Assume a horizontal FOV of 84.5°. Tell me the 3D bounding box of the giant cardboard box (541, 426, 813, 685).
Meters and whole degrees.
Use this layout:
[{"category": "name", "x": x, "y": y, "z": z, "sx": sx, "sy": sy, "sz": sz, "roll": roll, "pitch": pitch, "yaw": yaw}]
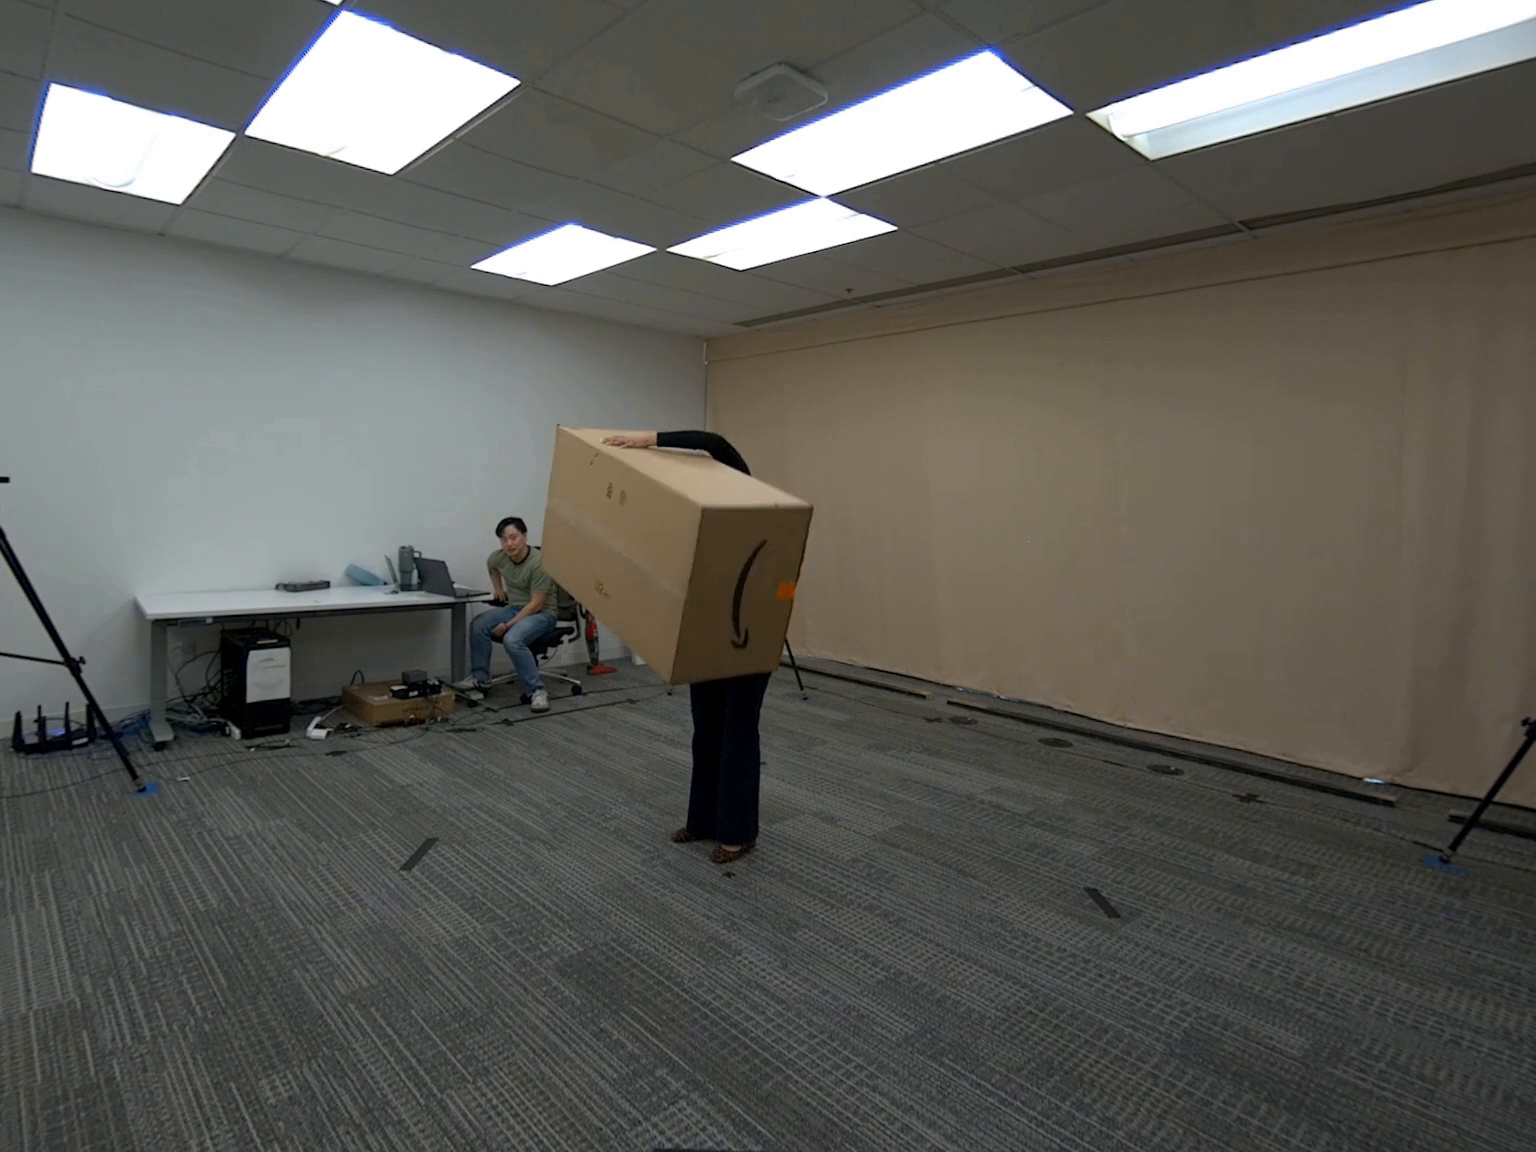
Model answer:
[{"category": "giant cardboard box", "x": -0.382, "y": -0.129, "z": 2.967, "sx": 0.416, "sy": 0.572, "sz": 1.058, "roll": -1, "pitch": 21, "yaw": -39}]
